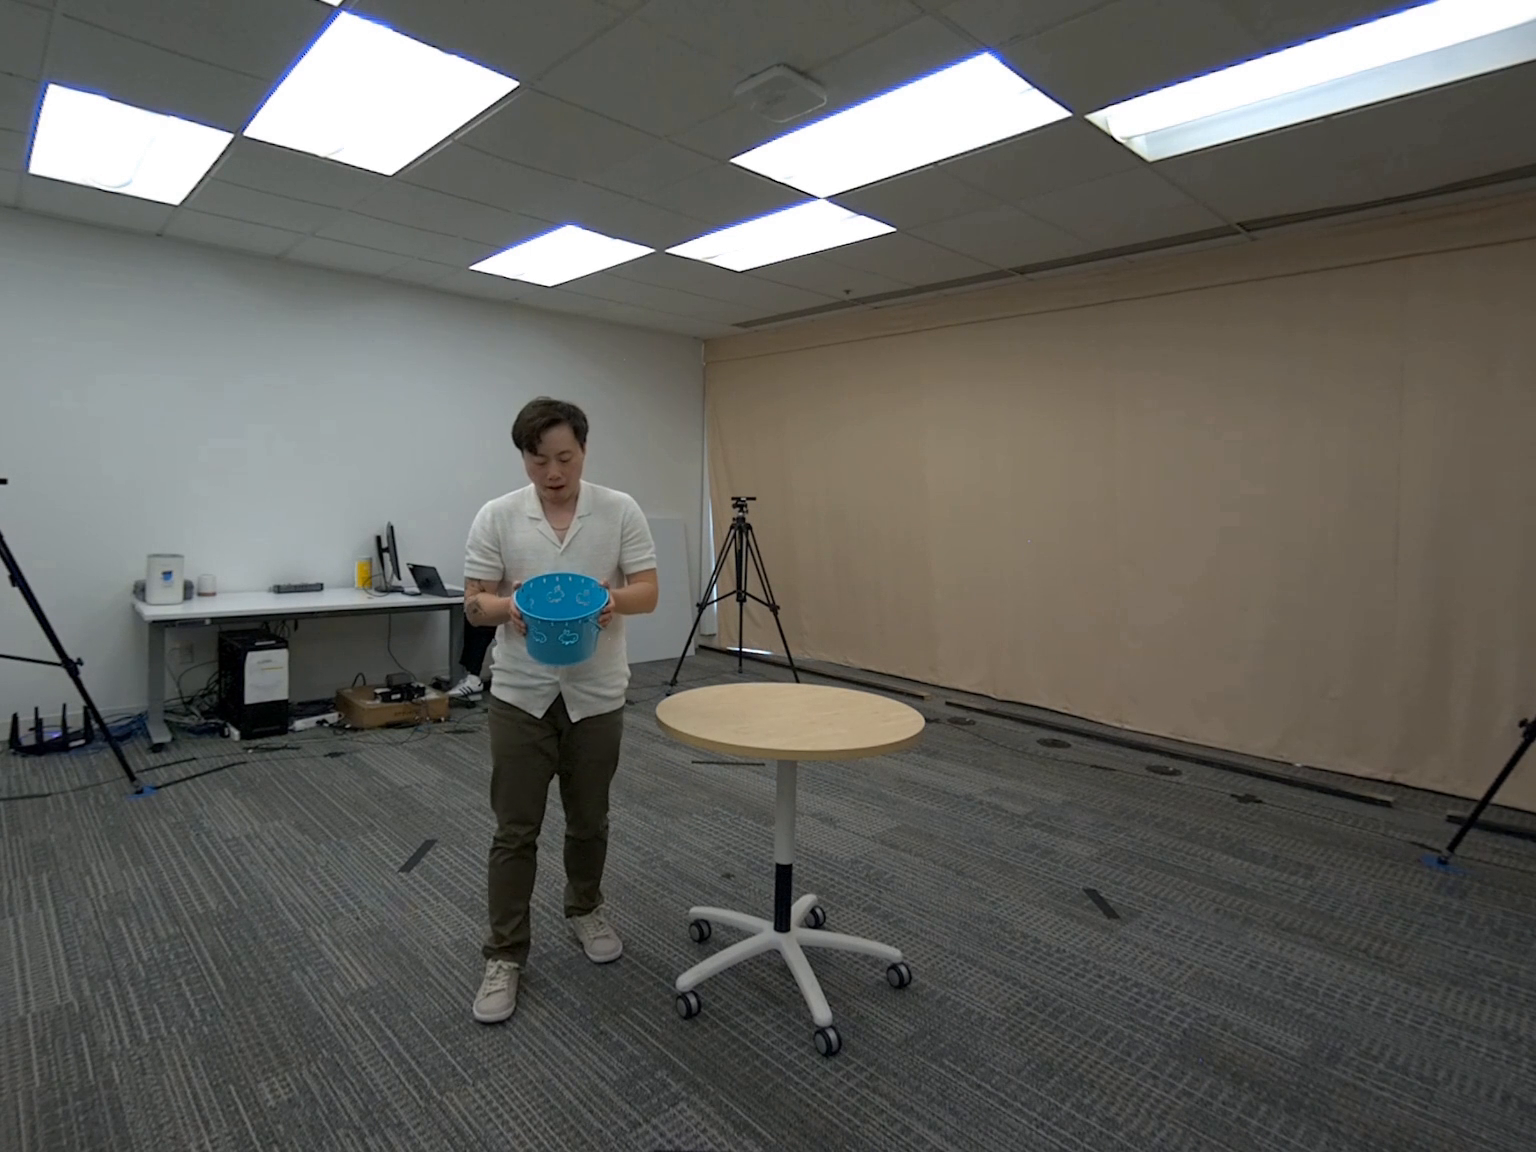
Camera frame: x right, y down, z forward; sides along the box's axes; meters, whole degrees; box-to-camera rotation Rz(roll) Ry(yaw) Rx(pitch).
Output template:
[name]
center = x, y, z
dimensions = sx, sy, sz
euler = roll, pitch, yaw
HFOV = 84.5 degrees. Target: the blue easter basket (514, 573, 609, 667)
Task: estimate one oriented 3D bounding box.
[blue easter basket]
center = -0.553, 0.118, 2.121
dimensions = 0.243, 0.153, 0.248
euler = 3, 27, -3
